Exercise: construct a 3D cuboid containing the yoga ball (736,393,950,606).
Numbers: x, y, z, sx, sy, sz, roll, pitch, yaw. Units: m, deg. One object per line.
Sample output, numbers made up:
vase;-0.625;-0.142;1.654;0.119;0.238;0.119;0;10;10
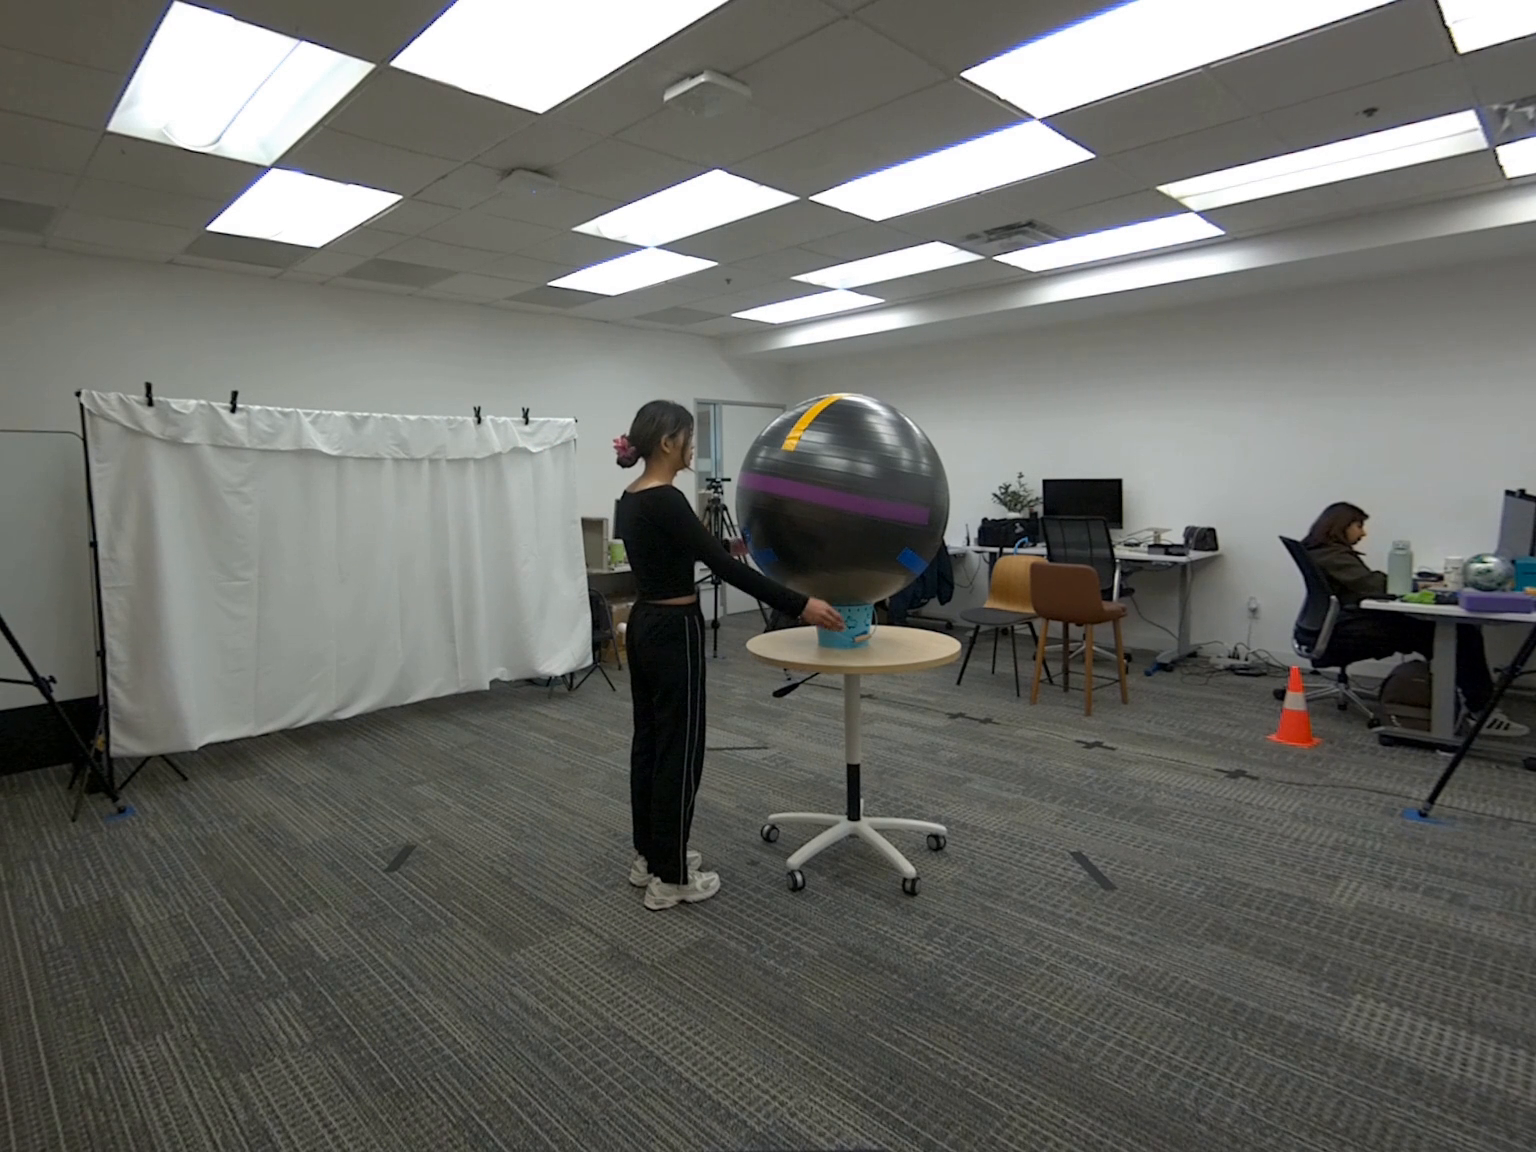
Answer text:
yoga ball;0.273;-0.260;3.061;0.757;0.755;0.762;-1;5;-2
